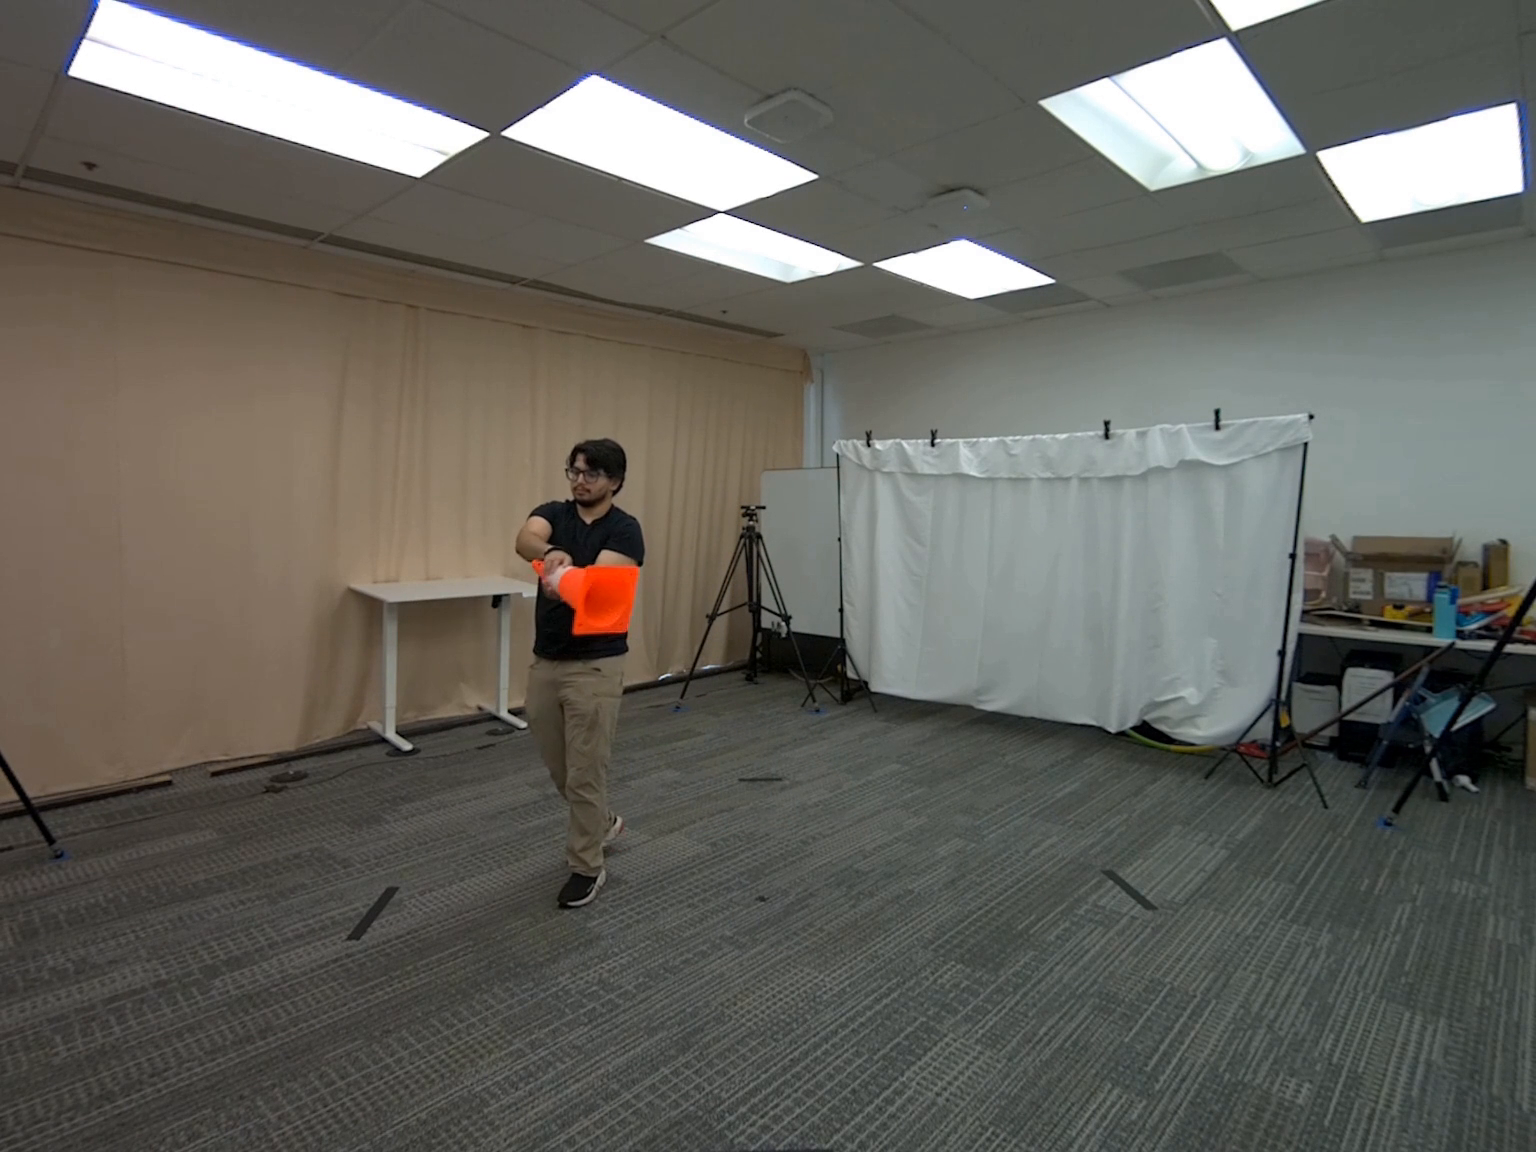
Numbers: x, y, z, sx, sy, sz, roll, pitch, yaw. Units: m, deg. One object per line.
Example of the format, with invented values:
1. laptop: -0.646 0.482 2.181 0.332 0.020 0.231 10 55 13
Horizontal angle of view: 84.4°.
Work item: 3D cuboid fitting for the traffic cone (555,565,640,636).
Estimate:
1. traffic cone: -0.592 0.019 2.516 0.397 0.203 0.198 17 10 39
